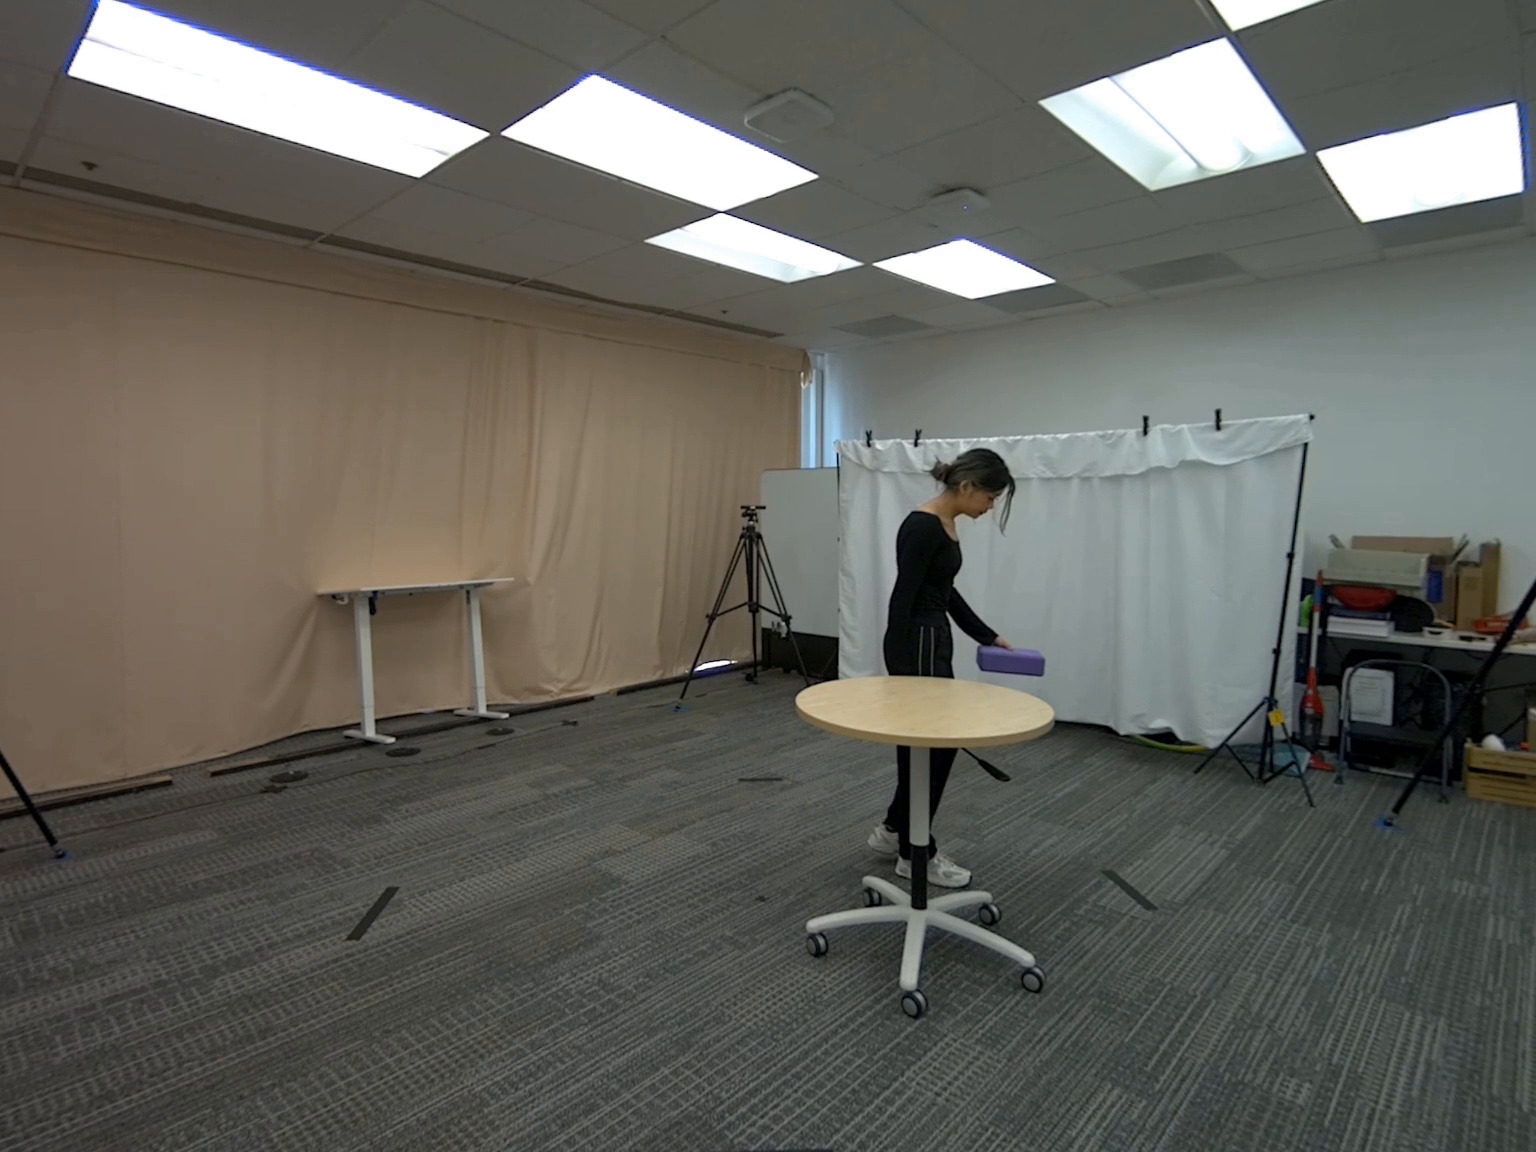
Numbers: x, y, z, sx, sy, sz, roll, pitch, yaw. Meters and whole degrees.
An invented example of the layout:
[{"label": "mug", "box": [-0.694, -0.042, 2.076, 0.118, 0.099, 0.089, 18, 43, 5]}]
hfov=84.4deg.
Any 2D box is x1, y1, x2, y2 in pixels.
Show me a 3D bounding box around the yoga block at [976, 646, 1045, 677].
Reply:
[{"label": "yoga block", "box": [0.925, 0.324, 3.184, 0.232, 0.076, 0.147, 4, 5, 11]}]
